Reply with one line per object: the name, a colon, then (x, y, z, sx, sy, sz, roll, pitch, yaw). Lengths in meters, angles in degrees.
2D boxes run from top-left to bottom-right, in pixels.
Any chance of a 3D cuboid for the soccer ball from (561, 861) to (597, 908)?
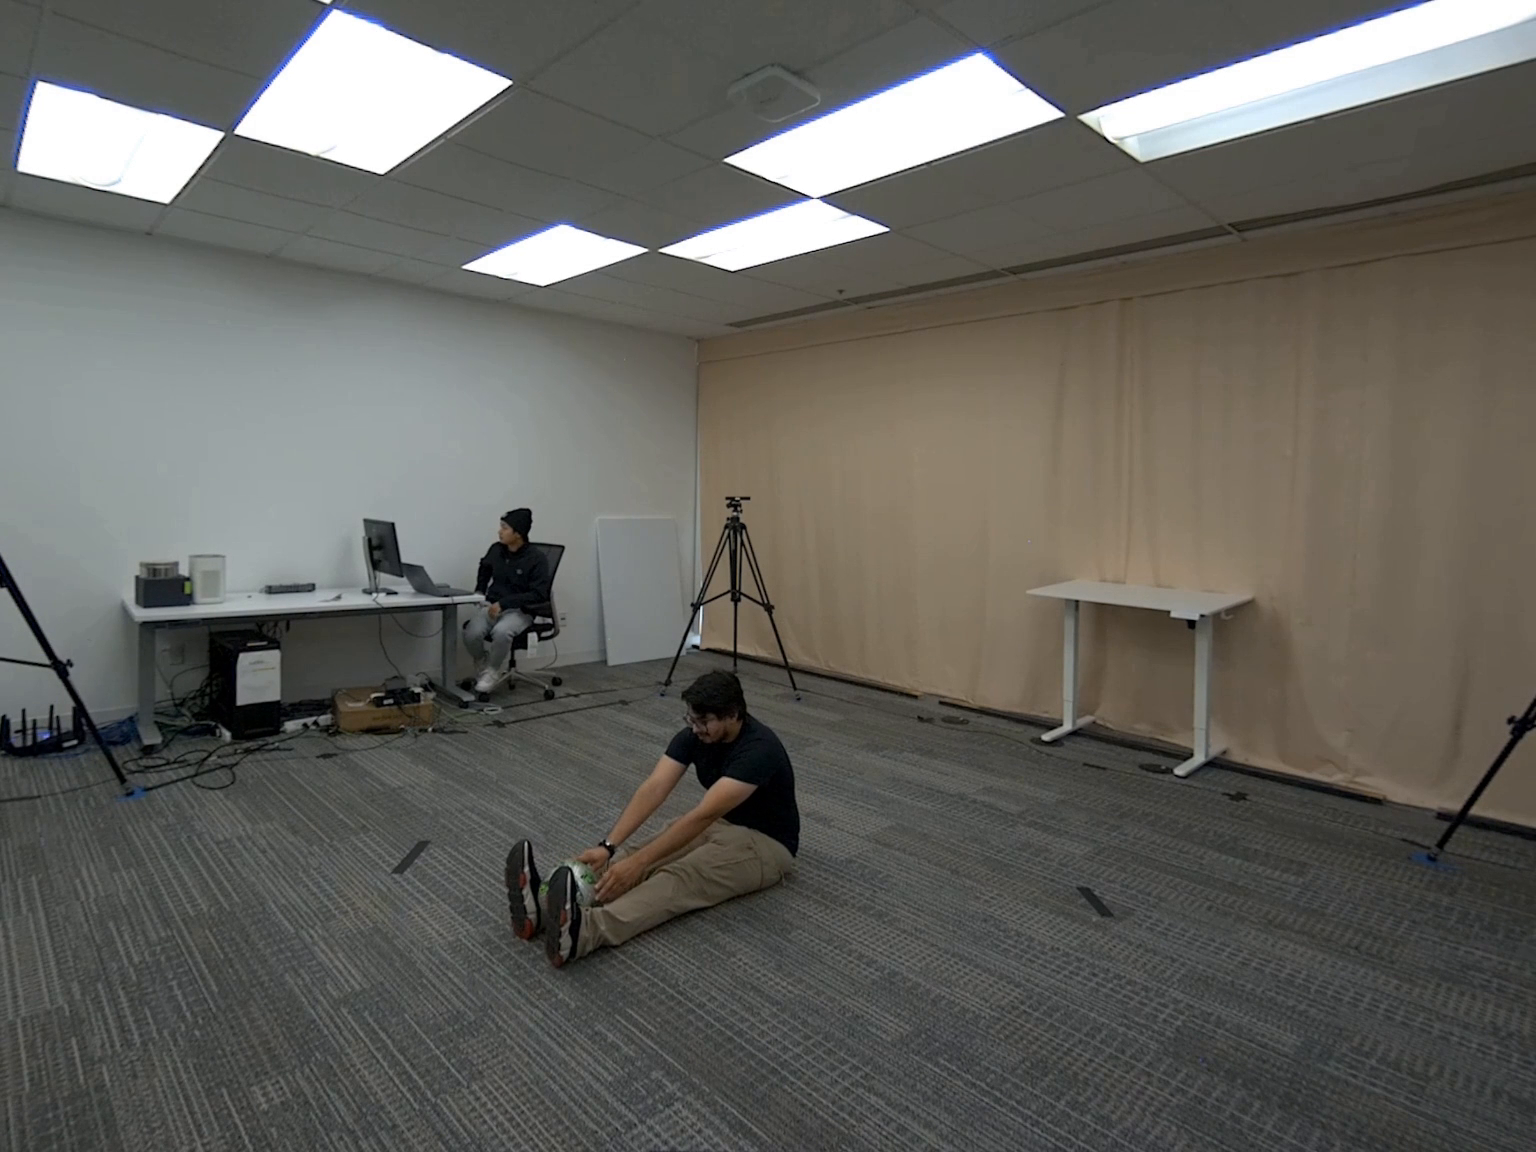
soccer ball: (-0.628, 1.006, 2.623, 0.187, 0.187, 0.188, 1, 5, -1)
